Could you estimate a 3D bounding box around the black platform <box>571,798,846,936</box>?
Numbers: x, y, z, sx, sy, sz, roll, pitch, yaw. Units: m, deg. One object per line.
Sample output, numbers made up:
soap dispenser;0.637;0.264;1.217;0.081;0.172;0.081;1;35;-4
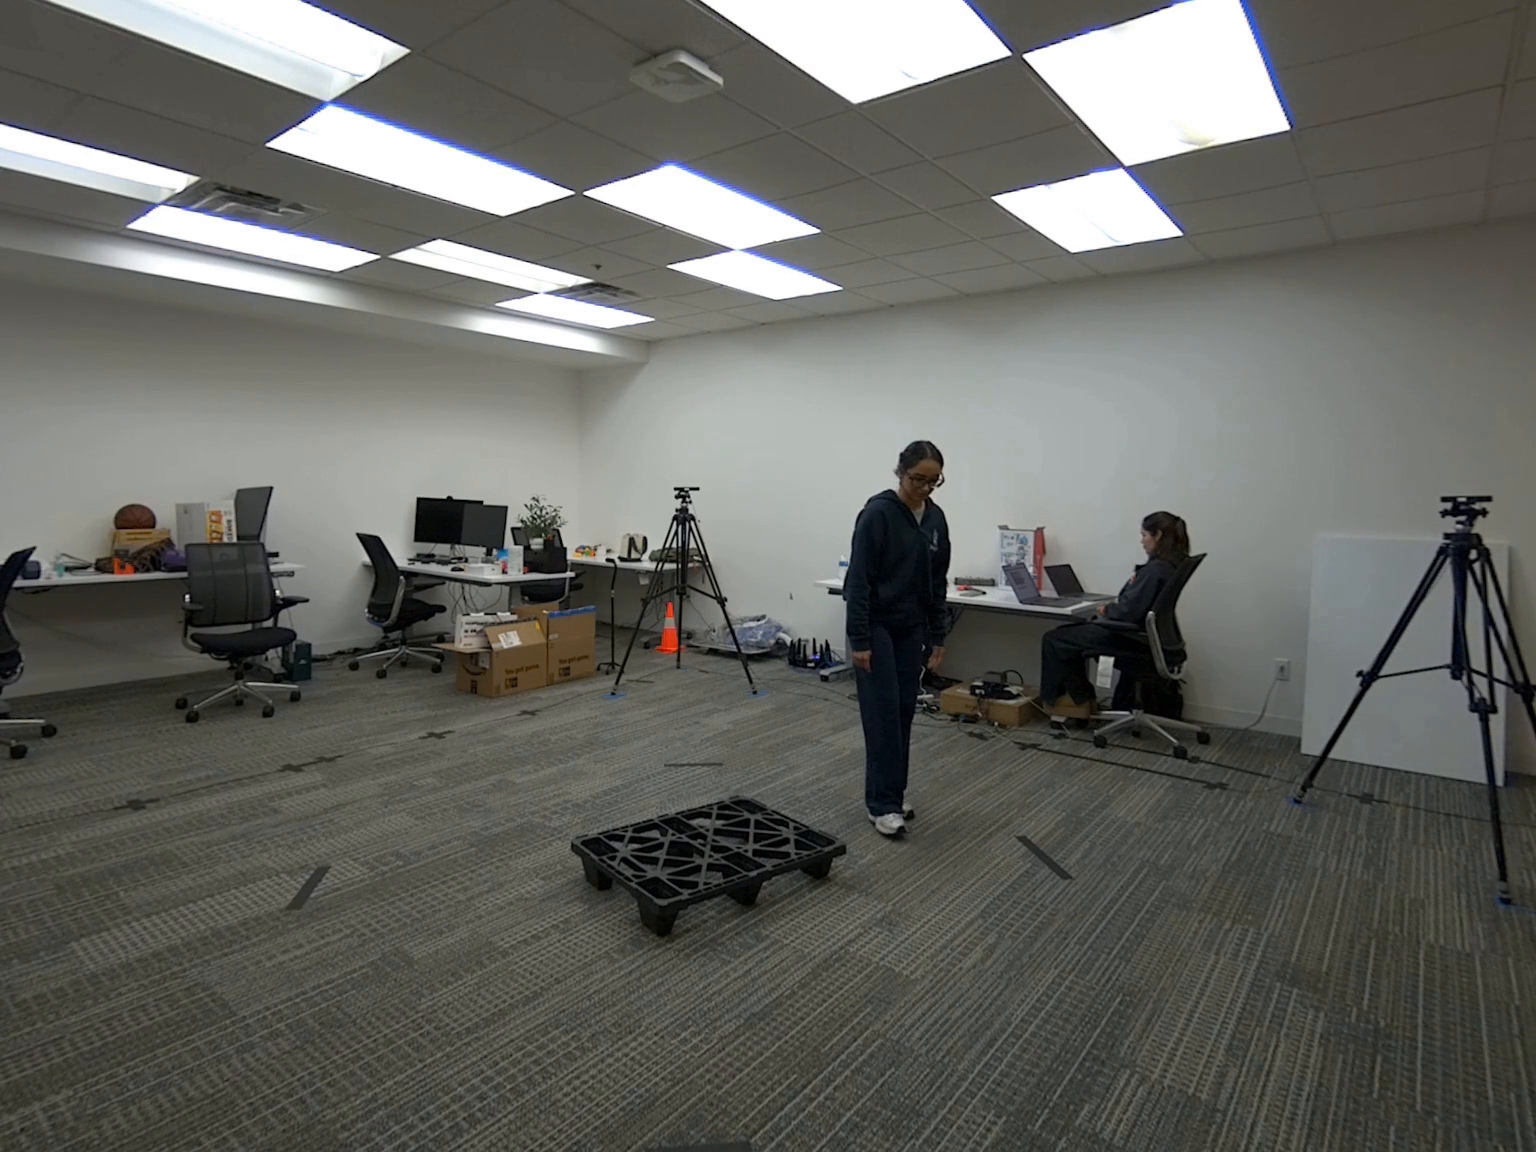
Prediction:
black platform;-0.217;1.008;3.027;0.782;0.143;0.626;-4;8;-39
